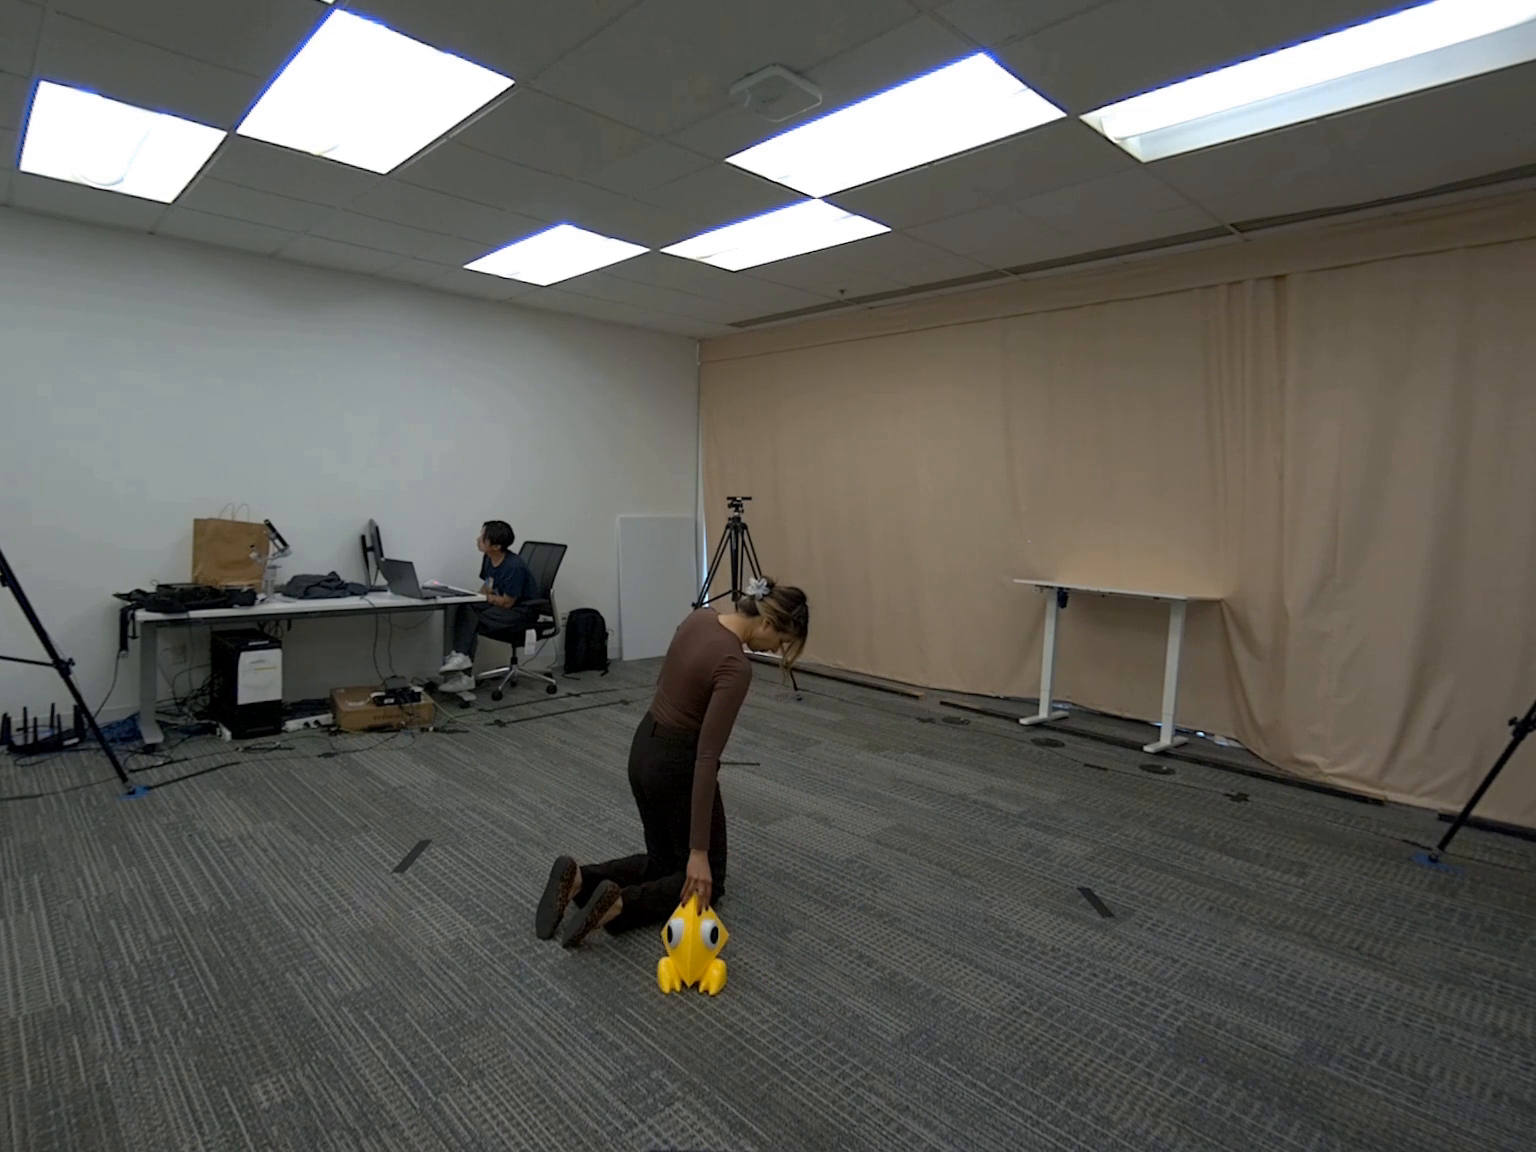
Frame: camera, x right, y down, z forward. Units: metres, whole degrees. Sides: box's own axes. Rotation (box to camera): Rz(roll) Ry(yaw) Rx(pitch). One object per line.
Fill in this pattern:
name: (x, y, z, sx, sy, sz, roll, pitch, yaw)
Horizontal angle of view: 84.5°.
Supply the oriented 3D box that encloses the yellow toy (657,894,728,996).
yellow toy: (-0.219, 1.054, 2.435, 0.205, 0.230, 0.193, 1, 3, 0)
